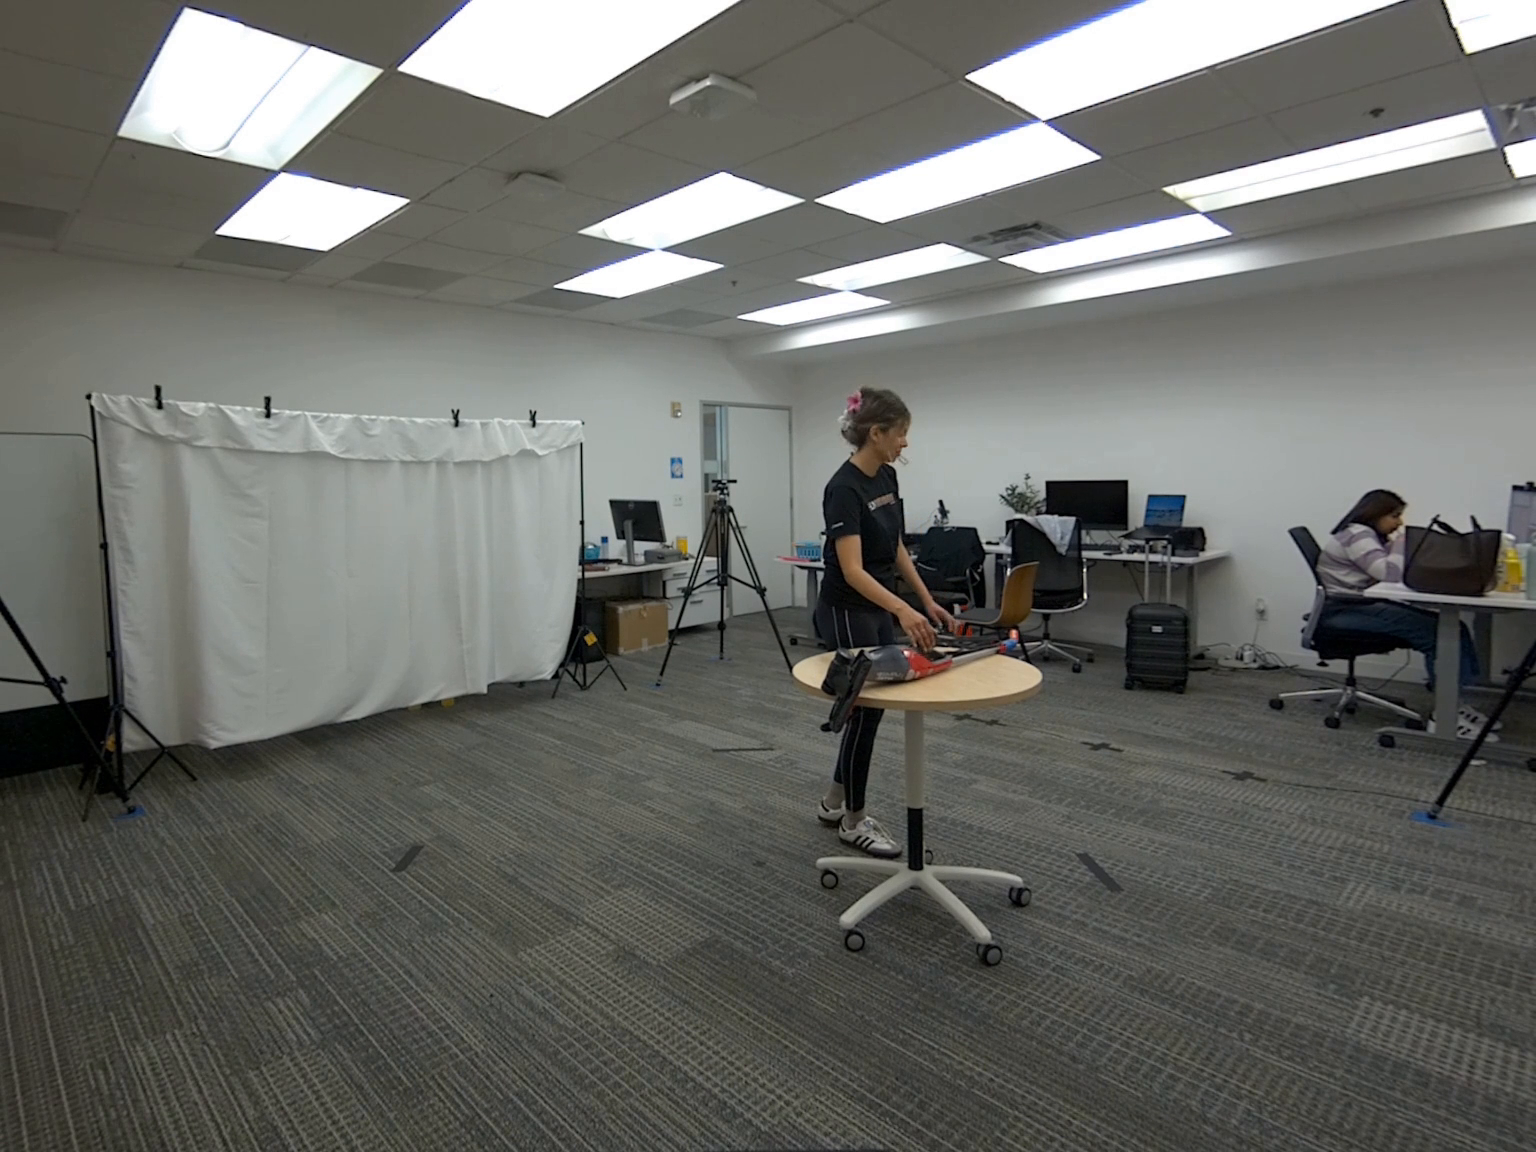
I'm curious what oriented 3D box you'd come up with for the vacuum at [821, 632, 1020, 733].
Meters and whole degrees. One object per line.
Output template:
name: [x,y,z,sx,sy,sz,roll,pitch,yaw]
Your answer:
vacuum: [0.538,0.262,2.718,1.022,0.250,0.149,-7,37,-47]
